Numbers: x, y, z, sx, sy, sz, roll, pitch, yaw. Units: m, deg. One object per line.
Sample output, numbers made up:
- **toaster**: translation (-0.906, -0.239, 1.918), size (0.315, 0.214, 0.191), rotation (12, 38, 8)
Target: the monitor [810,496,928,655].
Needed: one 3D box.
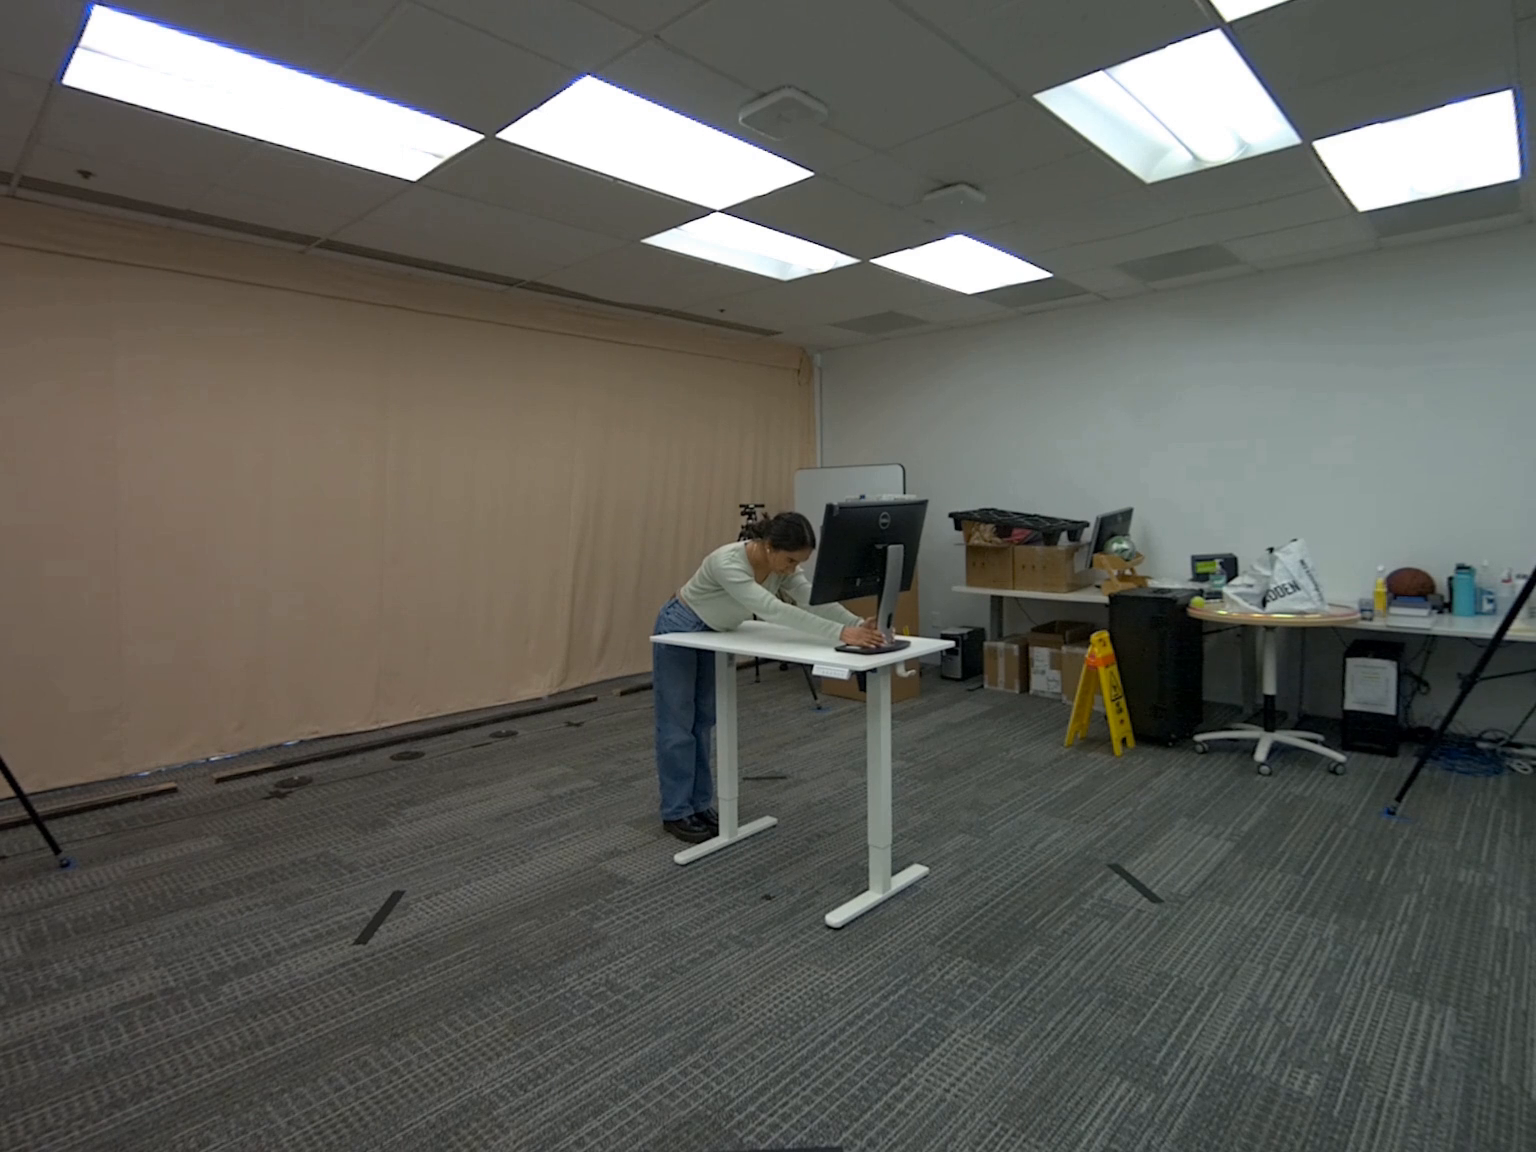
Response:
- **monitor**: translation (0.397, -0.002, 2.916), size (0.523, 0.521, 0.193), rotation (-6, 8, -44)
